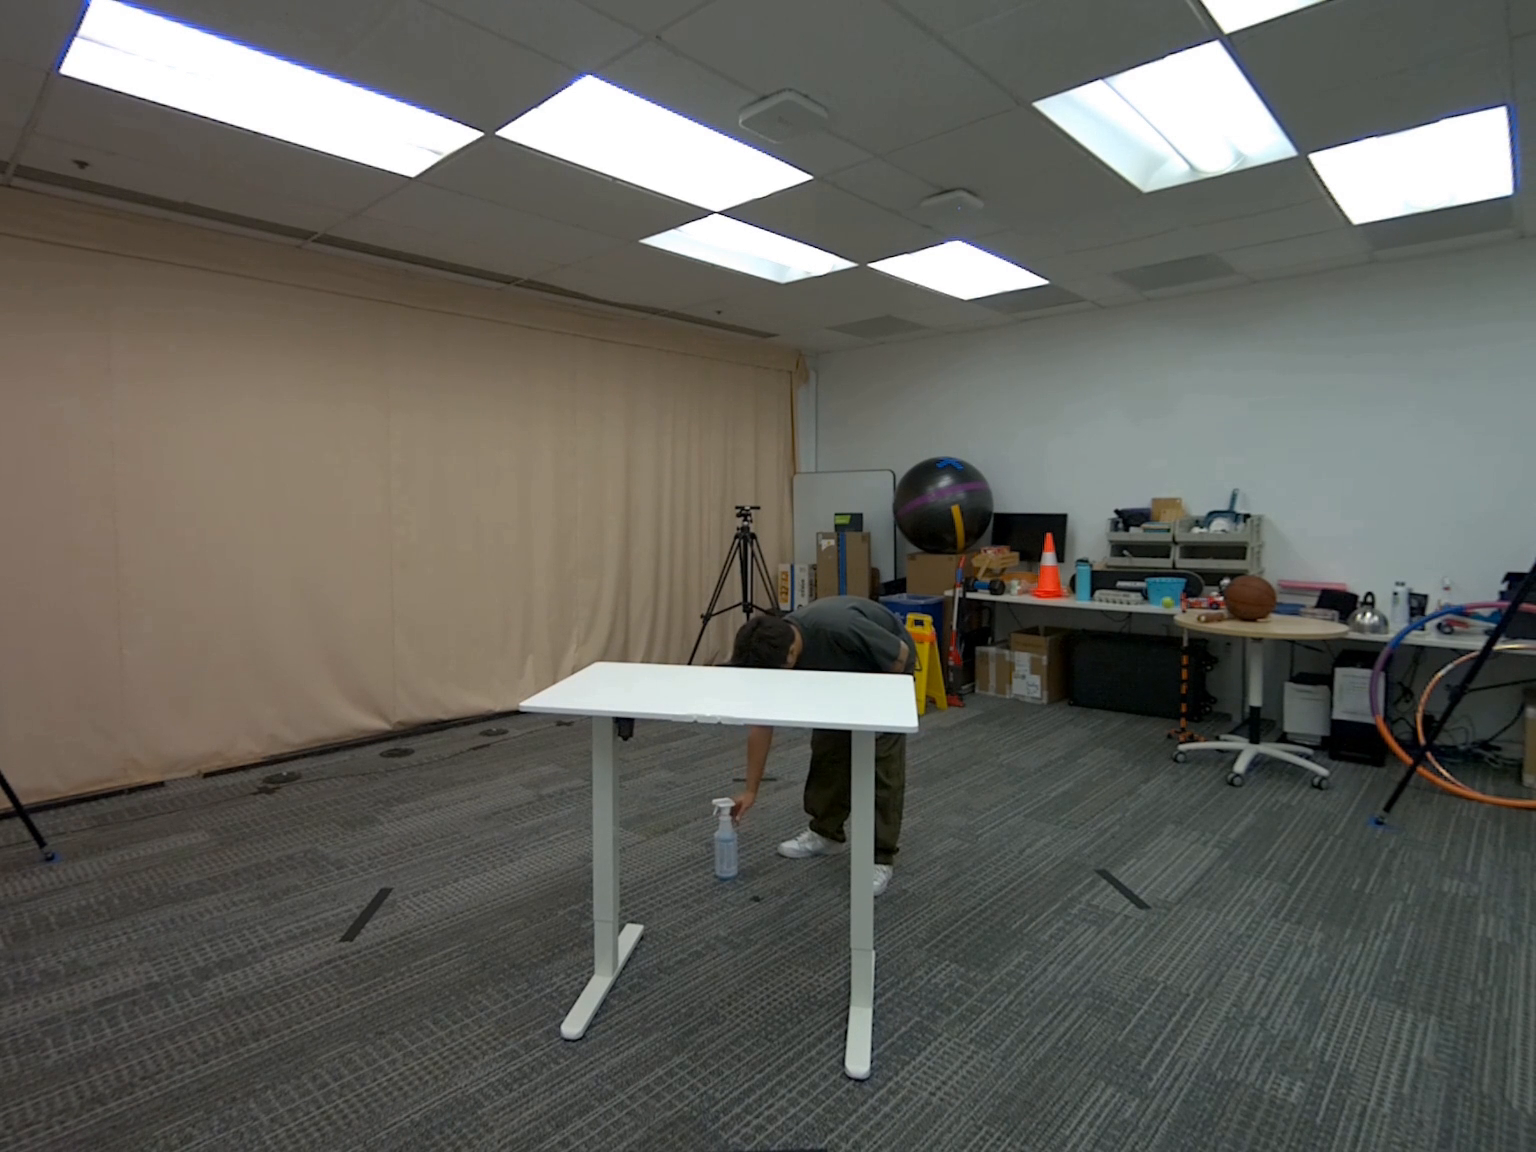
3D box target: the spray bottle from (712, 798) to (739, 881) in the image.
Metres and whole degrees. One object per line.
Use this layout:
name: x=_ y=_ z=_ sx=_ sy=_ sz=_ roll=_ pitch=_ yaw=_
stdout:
spray bottle: x=-0.159 y=0.986 z=3.168 sx=0.090 sy=0.296 sz=0.087 roll=-2 pitch=4 yaw=0
